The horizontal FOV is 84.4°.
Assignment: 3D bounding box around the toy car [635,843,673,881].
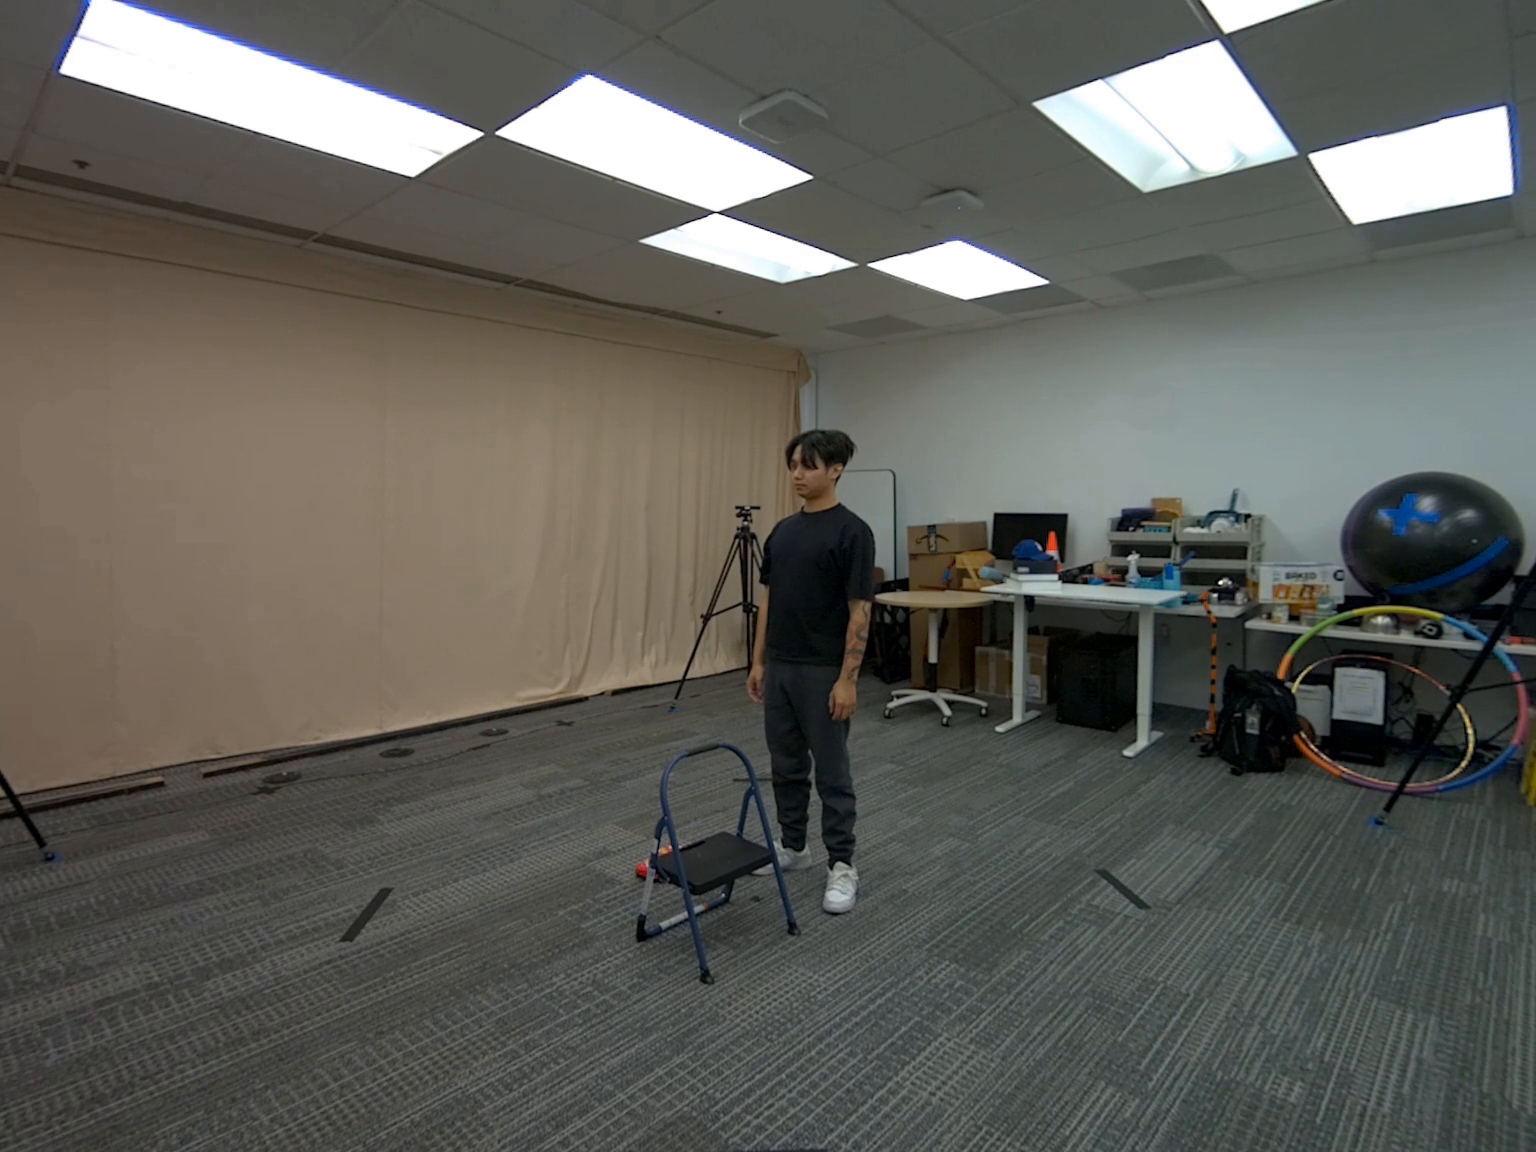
[{"bbox_3d":[-0.398,1.100,3.227,0.134,0.082,0.250,-1,15,29],"label":"toy car"}]
